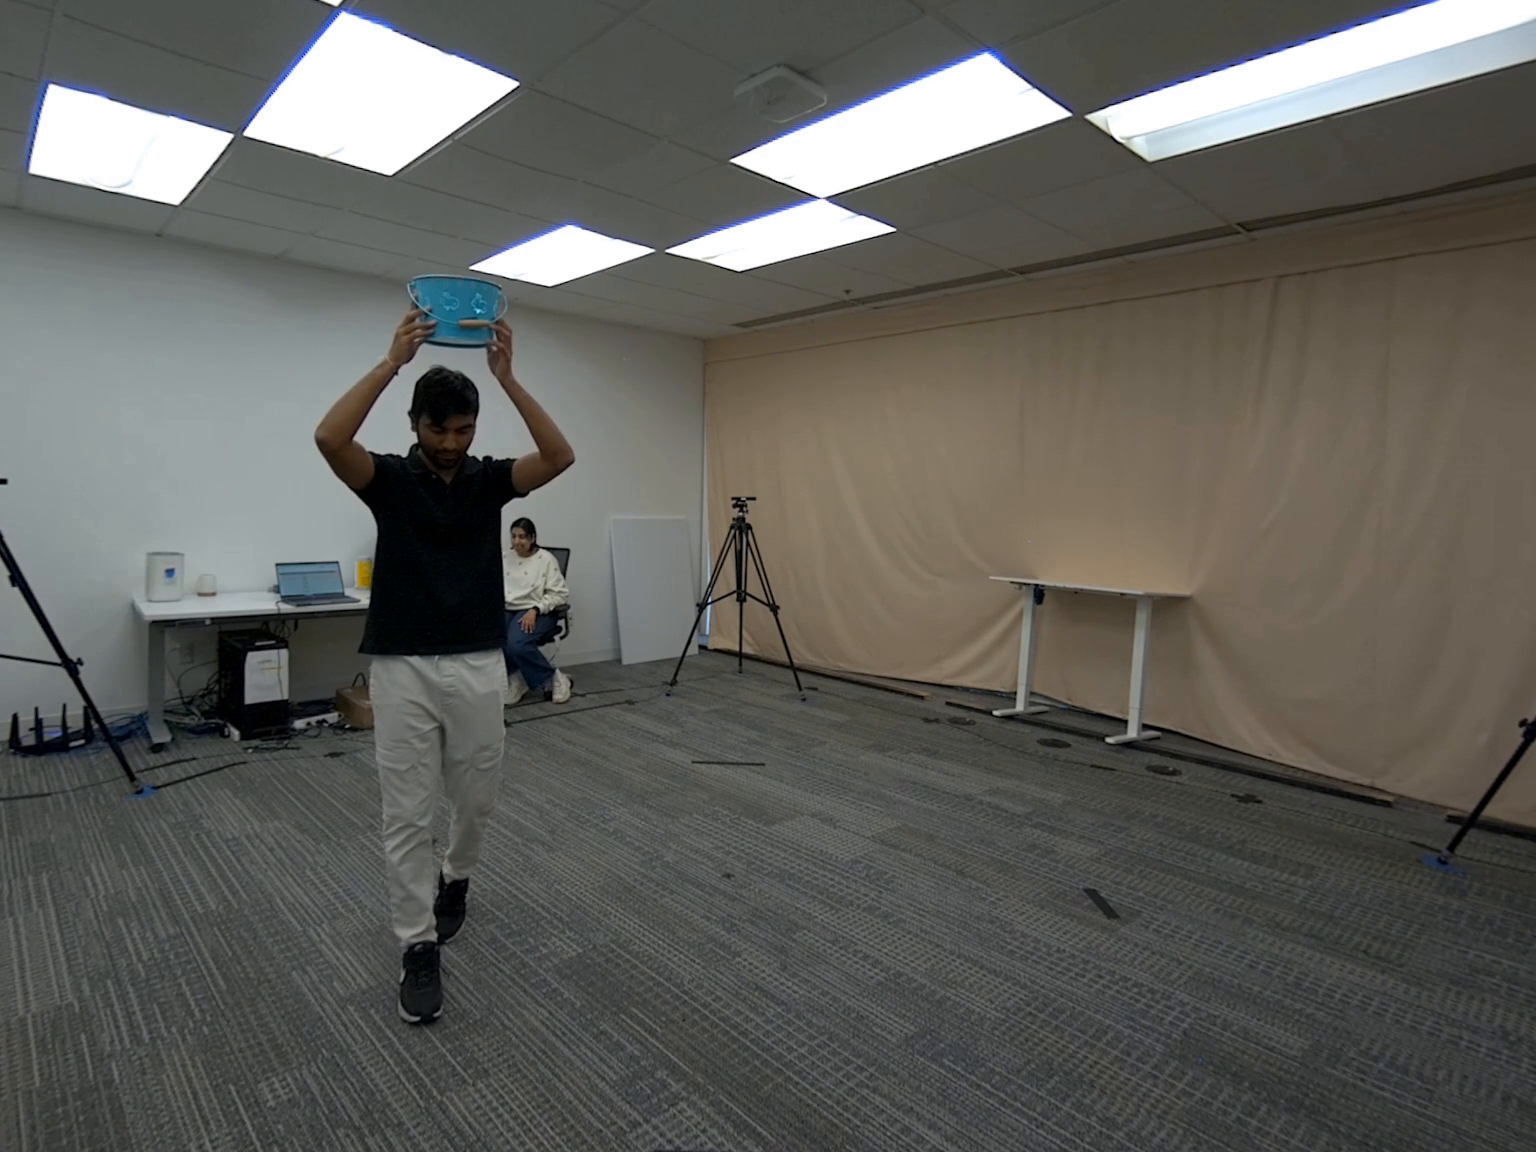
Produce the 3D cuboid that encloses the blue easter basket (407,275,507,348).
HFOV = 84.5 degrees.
[{"bbox_3d":[-0.841,-0.693,2.210,0.243,0.155,0.245,0,7,-1],"label":"blue easter basket"}]
